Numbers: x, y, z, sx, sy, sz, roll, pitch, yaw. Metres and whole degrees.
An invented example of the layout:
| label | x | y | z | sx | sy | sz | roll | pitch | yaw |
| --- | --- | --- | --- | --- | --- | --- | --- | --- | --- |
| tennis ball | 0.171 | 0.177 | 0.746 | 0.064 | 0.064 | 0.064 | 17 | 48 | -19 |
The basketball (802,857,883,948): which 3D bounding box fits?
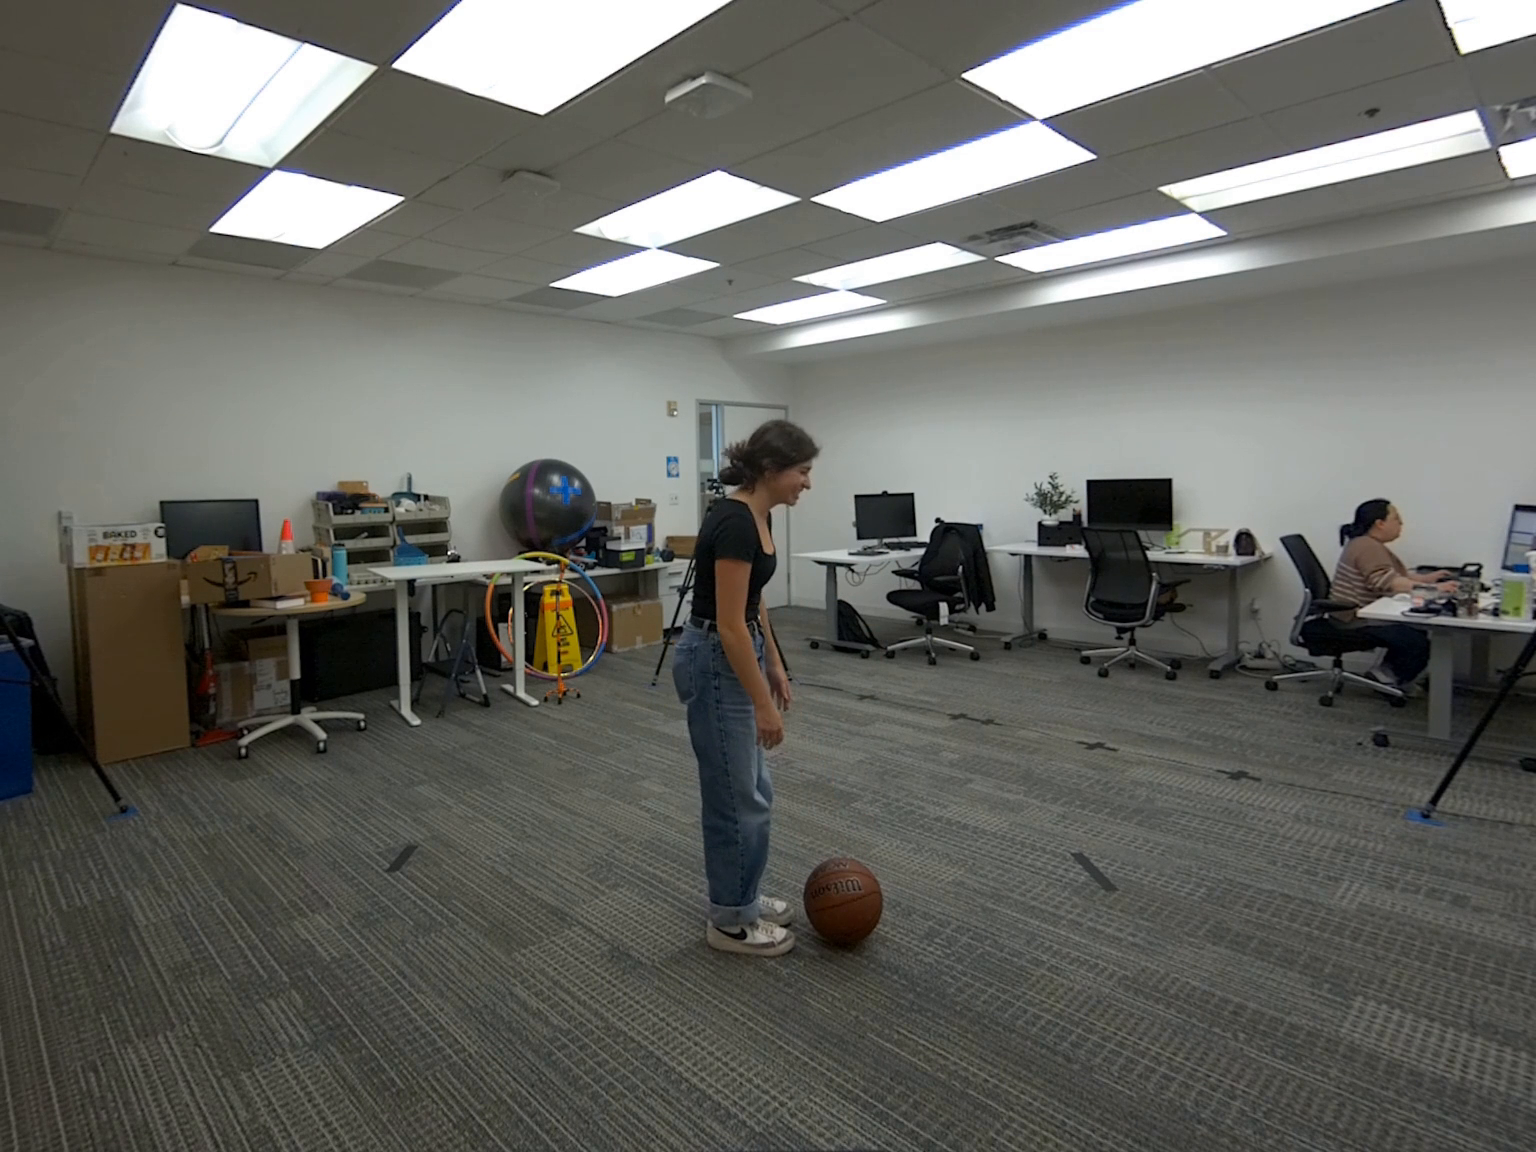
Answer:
| label | x | y | z | sx | sy | sz | roll | pitch | yaw |
| --- | --- | --- | --- | --- | --- | --- | --- | --- | --- |
| basketball | 0.226 | 0.974 | 2.583 | 0.236 | 0.235 | 0.237 | -1 | 5 | -2 |
